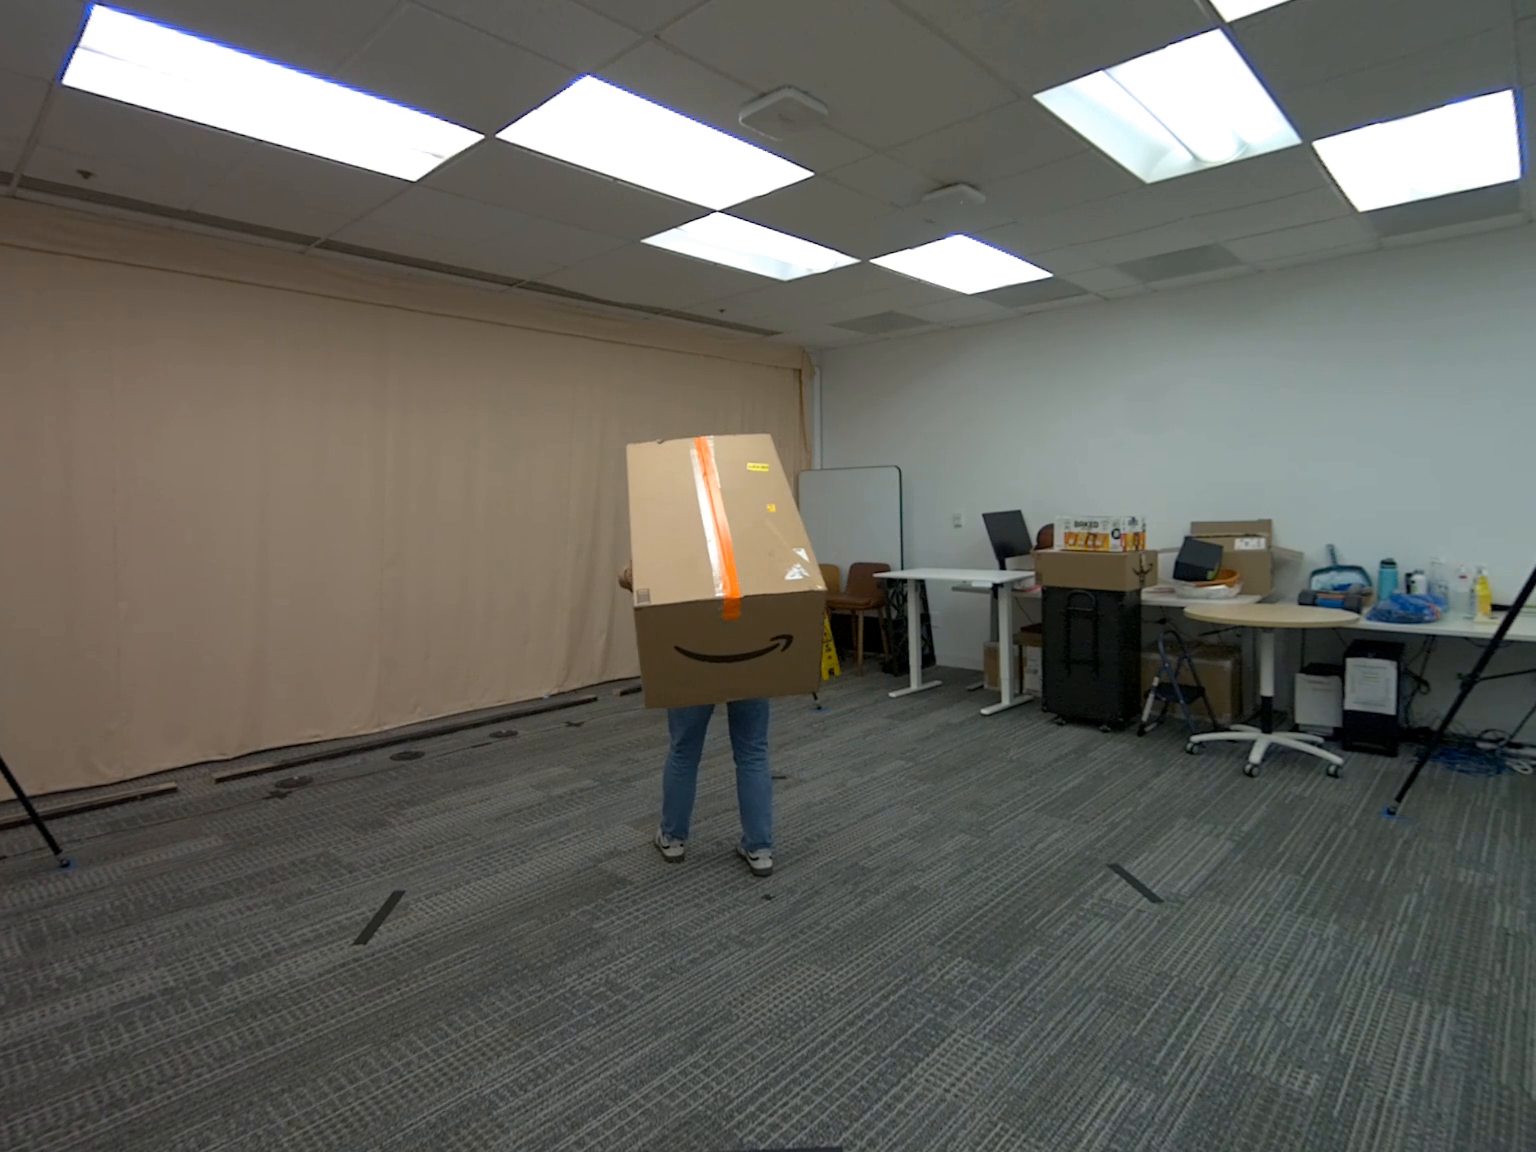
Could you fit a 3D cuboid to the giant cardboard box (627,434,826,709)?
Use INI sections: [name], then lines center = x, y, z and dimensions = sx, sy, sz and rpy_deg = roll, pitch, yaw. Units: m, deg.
[giant cardboard box]
center = -0.181, -0.073, 3.011
dimensions = 0.574, 0.418, 1.051
rpy_deg = -5, 37, -7
